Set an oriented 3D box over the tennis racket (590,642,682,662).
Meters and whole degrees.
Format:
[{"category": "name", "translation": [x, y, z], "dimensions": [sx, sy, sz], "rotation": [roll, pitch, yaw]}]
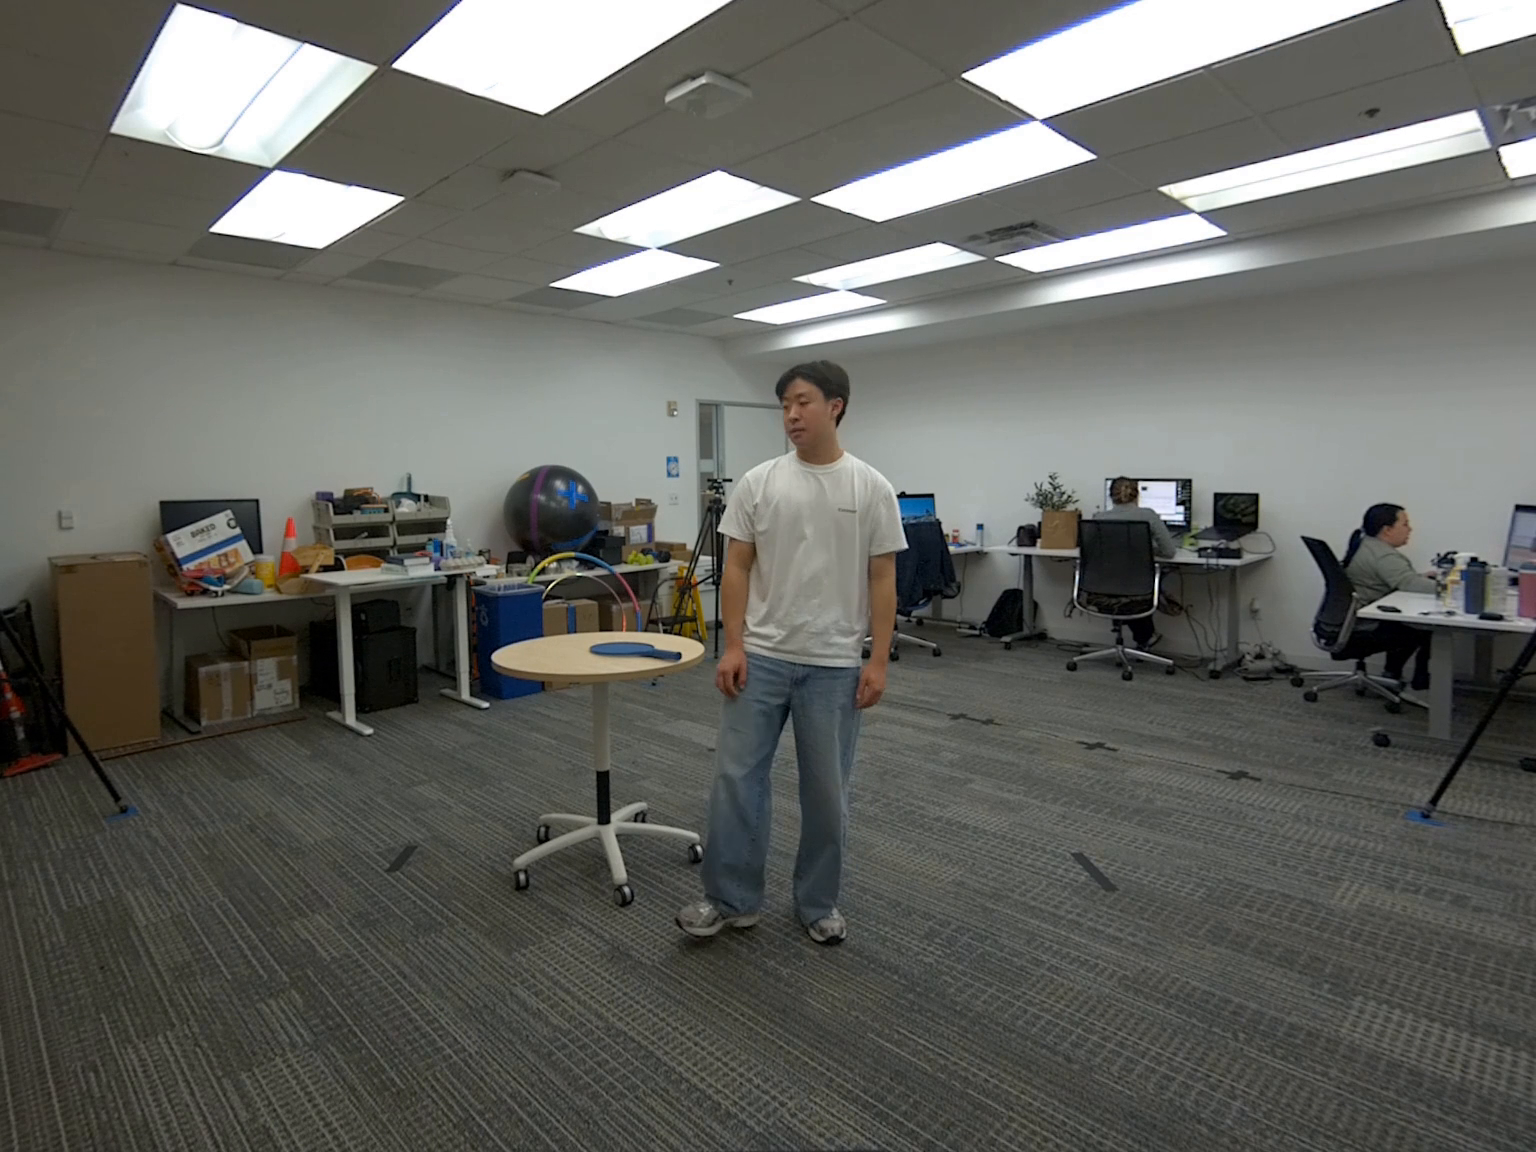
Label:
[{"category": "tennis racket", "translation": [-0.465, 0.268, 3.038], "dimensions": [0.446, 0.031, 0.208], "rotation": [3, 7, 44]}]
